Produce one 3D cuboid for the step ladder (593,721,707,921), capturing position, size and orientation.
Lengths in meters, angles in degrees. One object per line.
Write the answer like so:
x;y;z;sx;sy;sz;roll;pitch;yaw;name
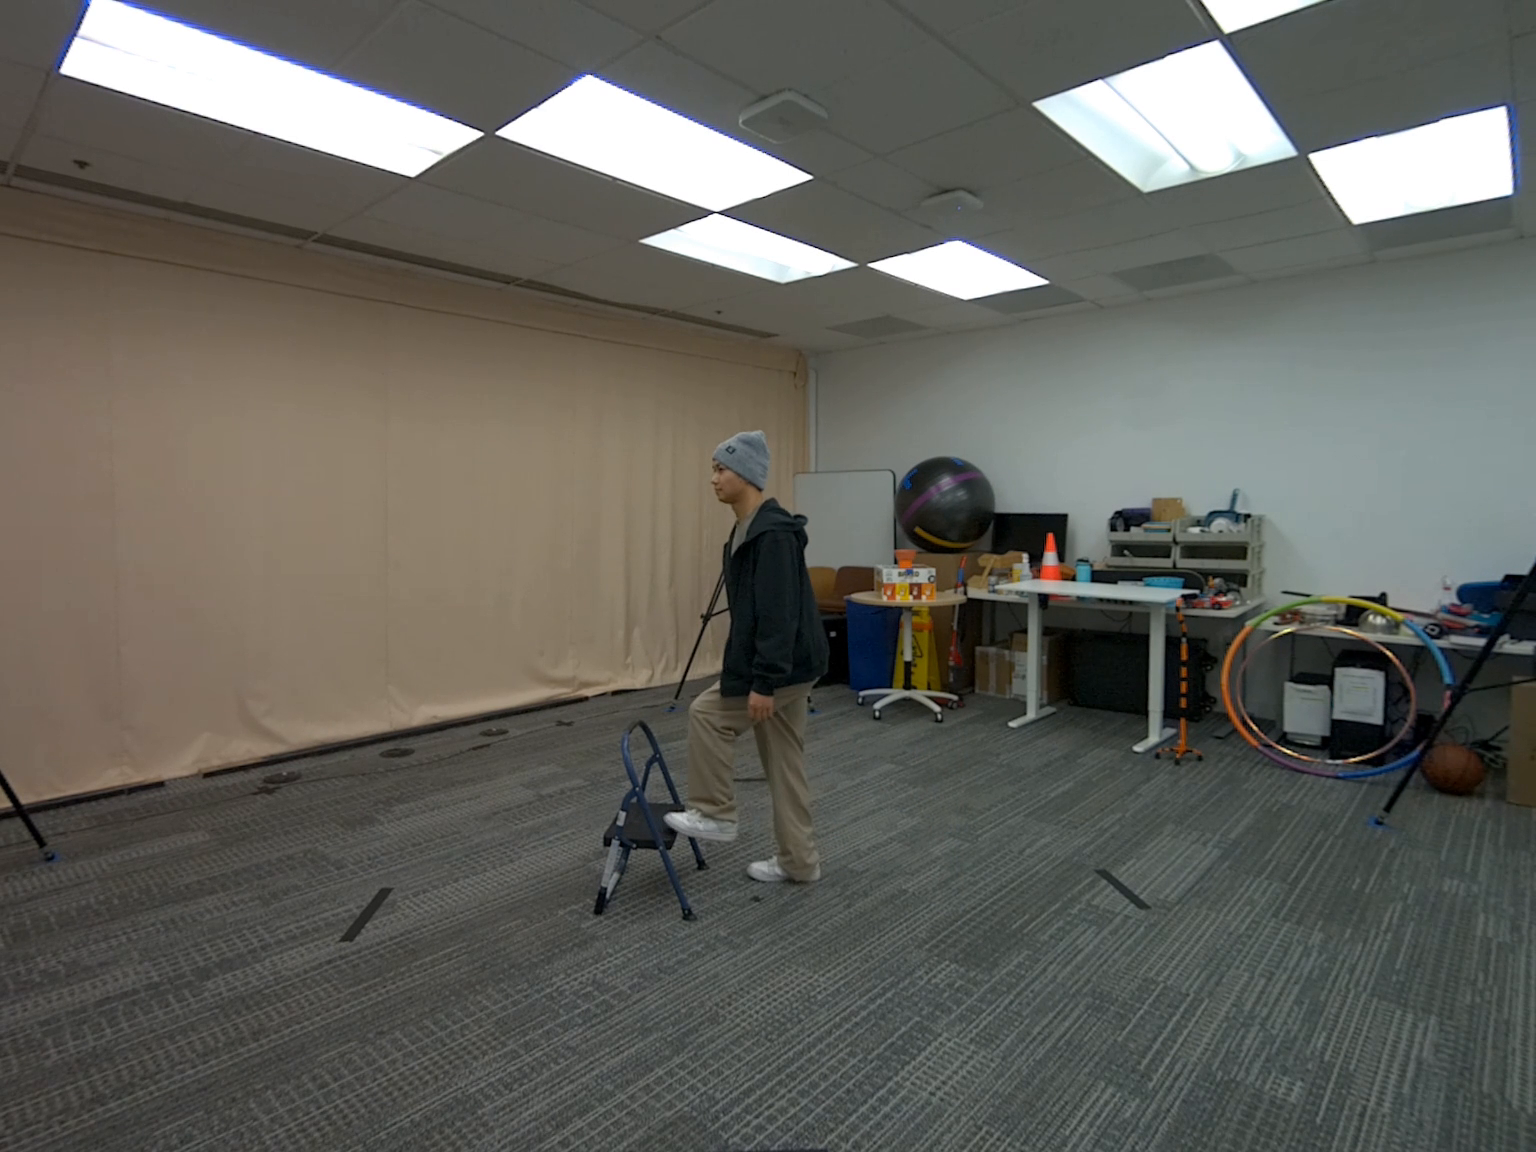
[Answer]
-0.413;0.844;3.044;0.351;0.605;0.430;0;4;3;step ladder
